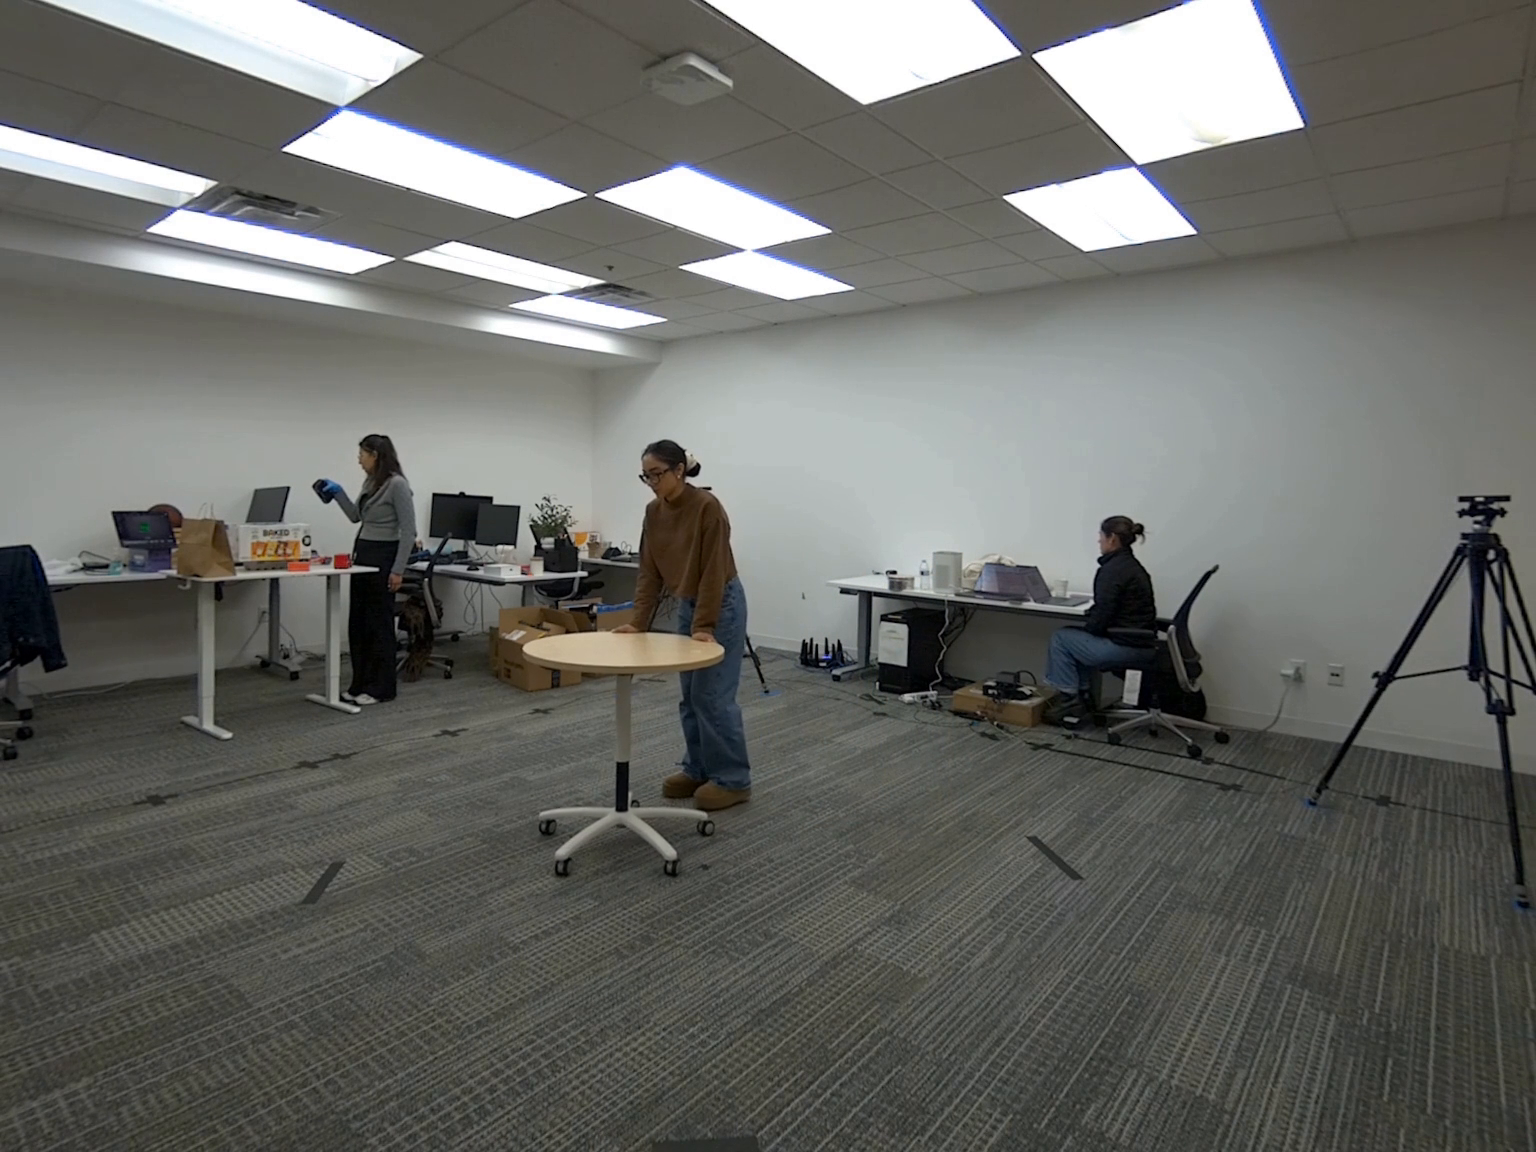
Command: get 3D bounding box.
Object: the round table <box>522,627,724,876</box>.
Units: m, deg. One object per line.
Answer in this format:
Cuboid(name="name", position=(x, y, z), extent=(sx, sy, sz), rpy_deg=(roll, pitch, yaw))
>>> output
Cuboid(name="round table", position=(-0.576, 0.659, 3.282), extent=(0.763, 0.792, 0.767), rpy_deg=(1, 4, -2))
